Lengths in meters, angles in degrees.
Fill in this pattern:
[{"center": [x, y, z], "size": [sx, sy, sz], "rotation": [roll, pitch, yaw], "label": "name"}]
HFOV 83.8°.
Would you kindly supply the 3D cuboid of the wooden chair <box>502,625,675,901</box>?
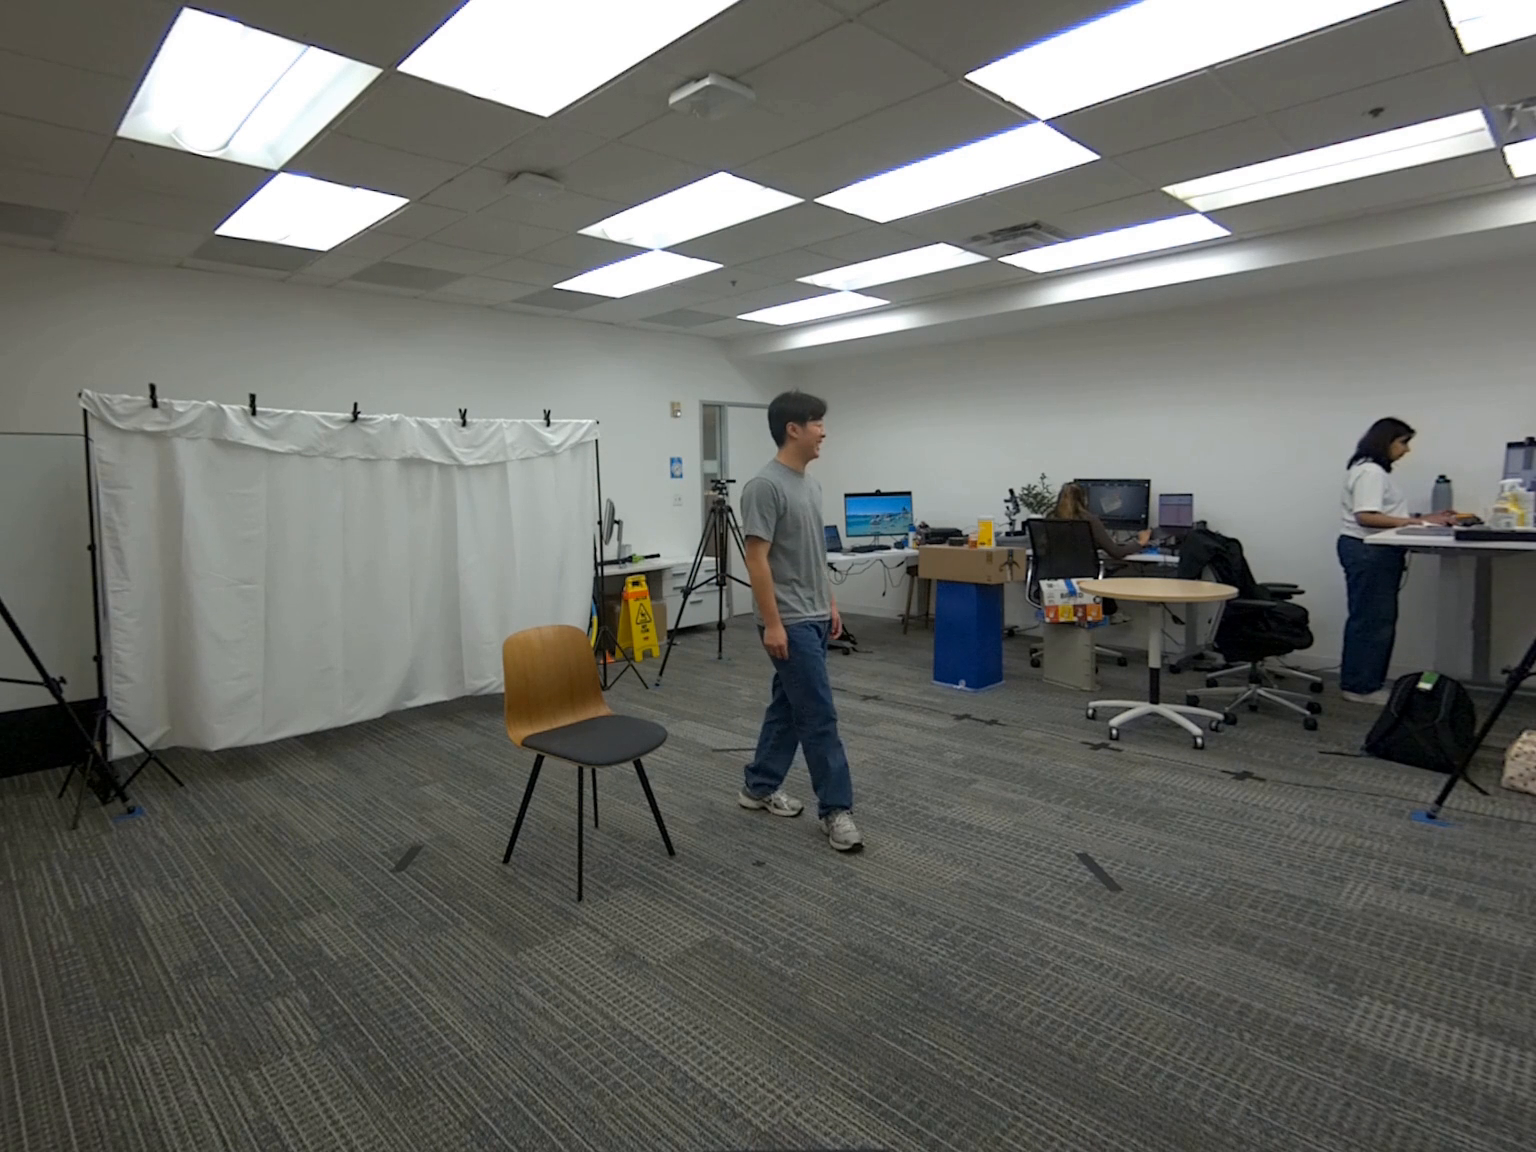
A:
[{"center": [-0.662, 0.629, 3.128], "size": [0.537, 0.877, 0.466], "rotation": [-4, 1, 41], "label": "wooden chair"}]
